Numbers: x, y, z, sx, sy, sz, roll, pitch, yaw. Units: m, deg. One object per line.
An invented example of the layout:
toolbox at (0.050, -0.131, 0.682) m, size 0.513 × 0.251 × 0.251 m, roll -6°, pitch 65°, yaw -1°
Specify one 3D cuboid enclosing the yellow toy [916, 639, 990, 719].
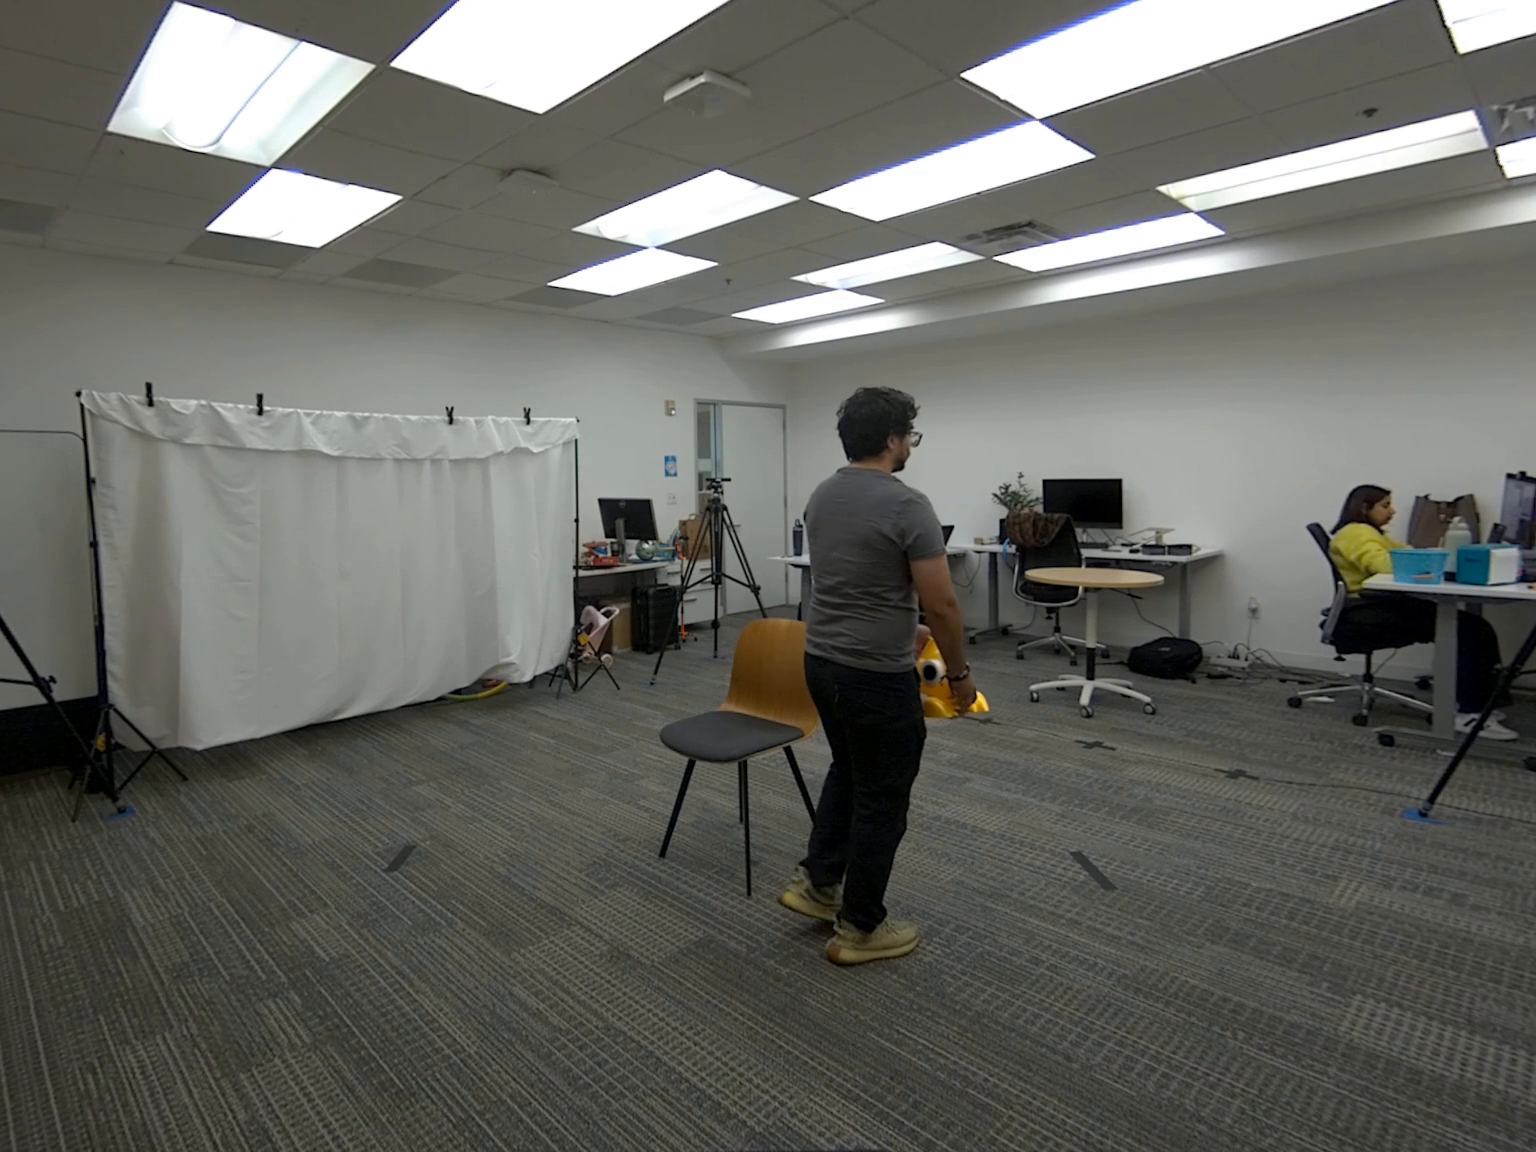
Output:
yellow toy at (0.546, 0.302, 2.616) m, size 0.201 × 0.232 × 0.195 m, roll -4°, pitch -5°, yaw -19°
